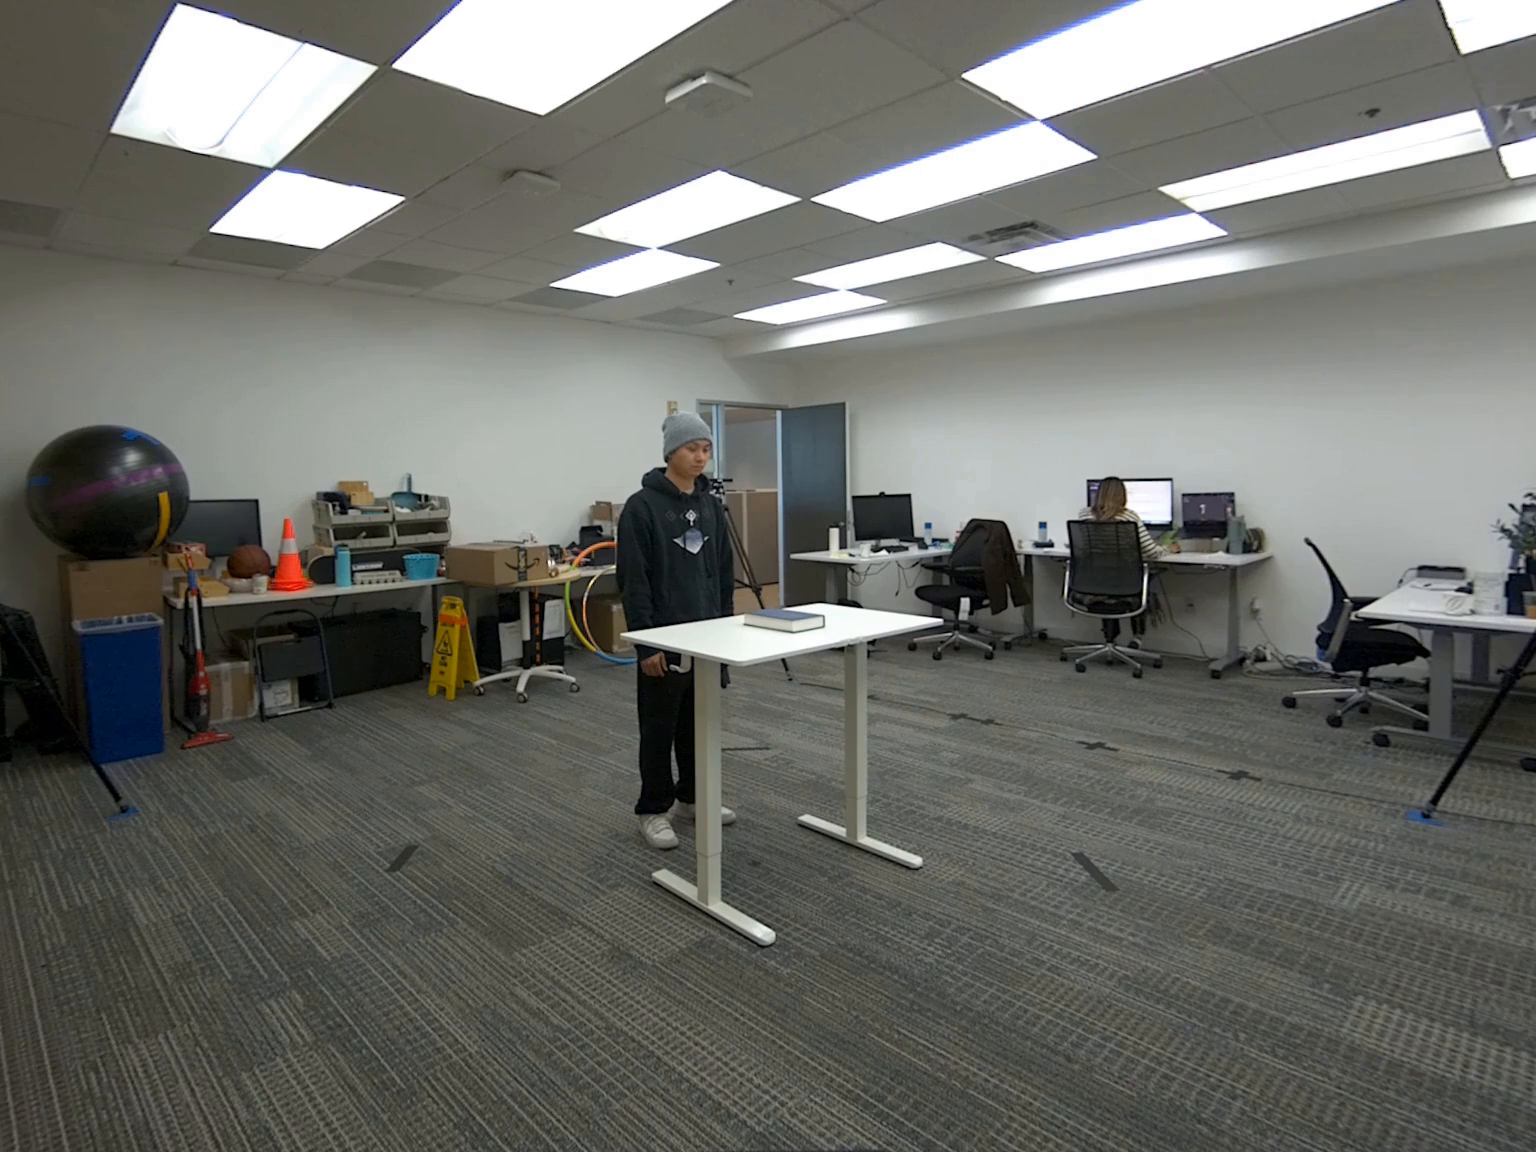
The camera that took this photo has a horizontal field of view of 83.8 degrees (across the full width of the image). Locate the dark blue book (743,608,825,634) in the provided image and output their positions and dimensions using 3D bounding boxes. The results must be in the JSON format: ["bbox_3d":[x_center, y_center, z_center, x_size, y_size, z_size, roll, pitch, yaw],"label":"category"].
[{"bbox_3d":[0.065,0.156,2.976,0.159,0.045,0.253,-6,8,-43],"label":"dark blue book"}]
